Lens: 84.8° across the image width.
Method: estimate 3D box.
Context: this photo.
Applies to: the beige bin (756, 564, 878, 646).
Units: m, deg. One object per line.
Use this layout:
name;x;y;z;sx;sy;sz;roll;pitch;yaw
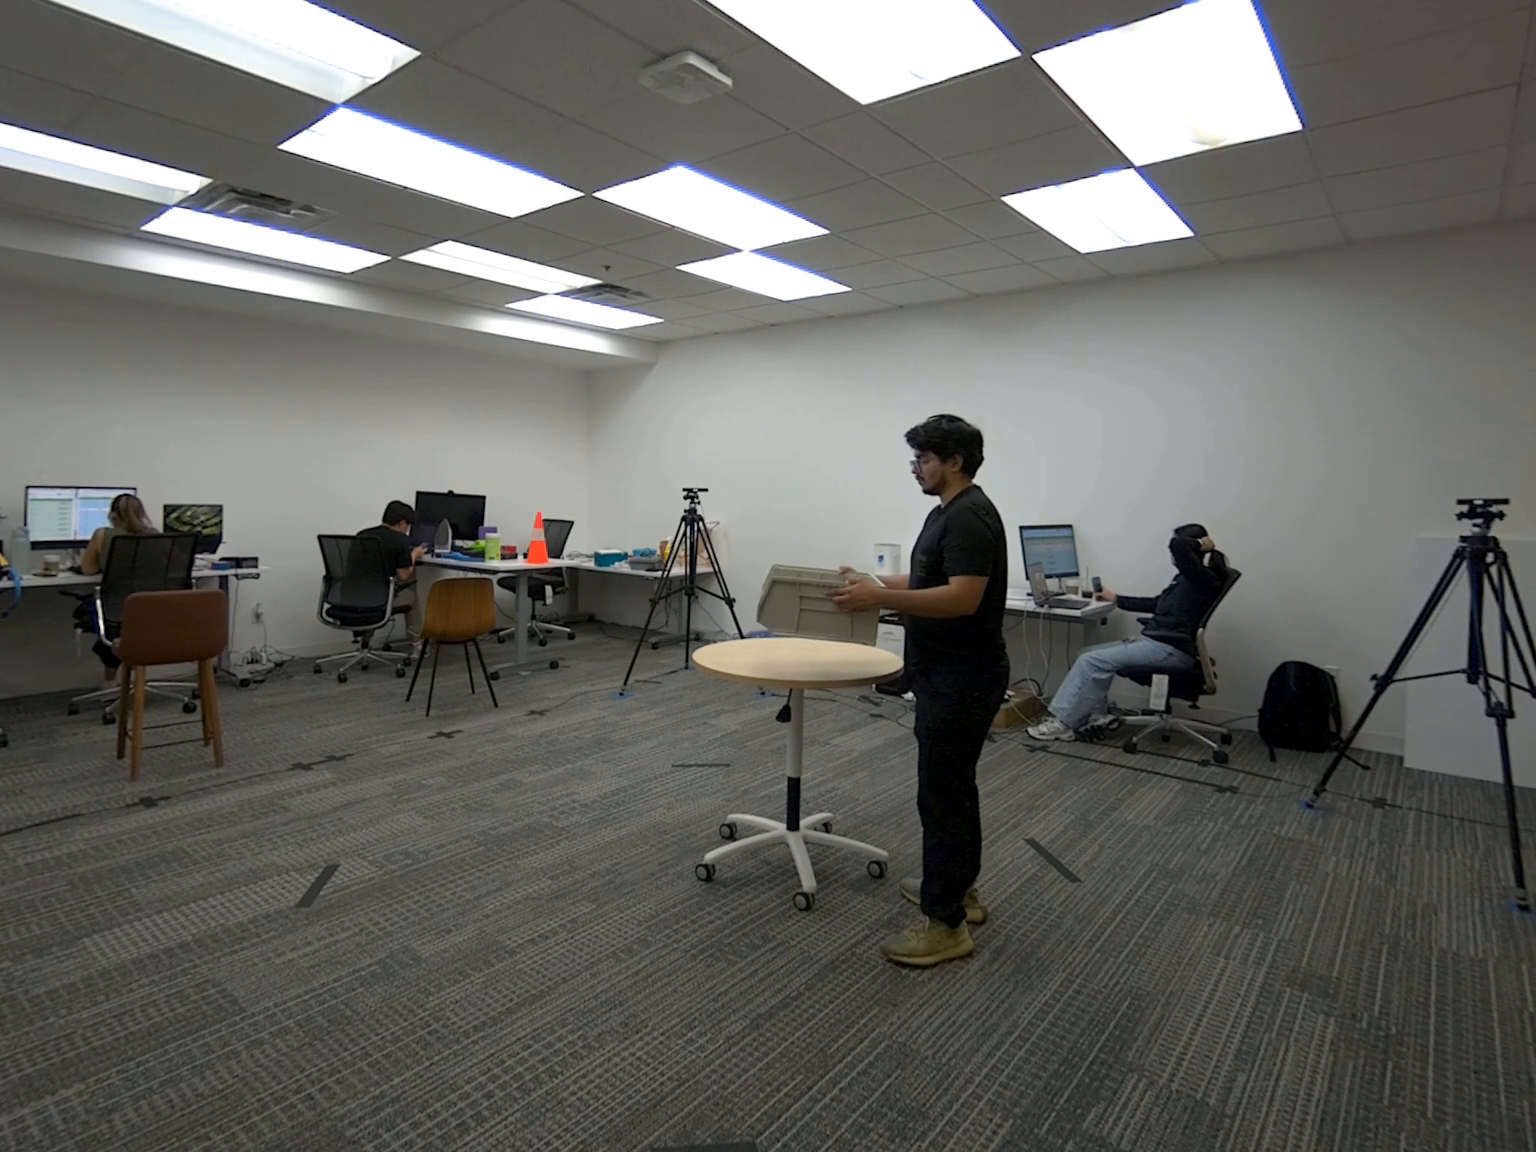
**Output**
beige bin;0.146;0.084;2.750;0.379;0.188;0.423;6;5;2
